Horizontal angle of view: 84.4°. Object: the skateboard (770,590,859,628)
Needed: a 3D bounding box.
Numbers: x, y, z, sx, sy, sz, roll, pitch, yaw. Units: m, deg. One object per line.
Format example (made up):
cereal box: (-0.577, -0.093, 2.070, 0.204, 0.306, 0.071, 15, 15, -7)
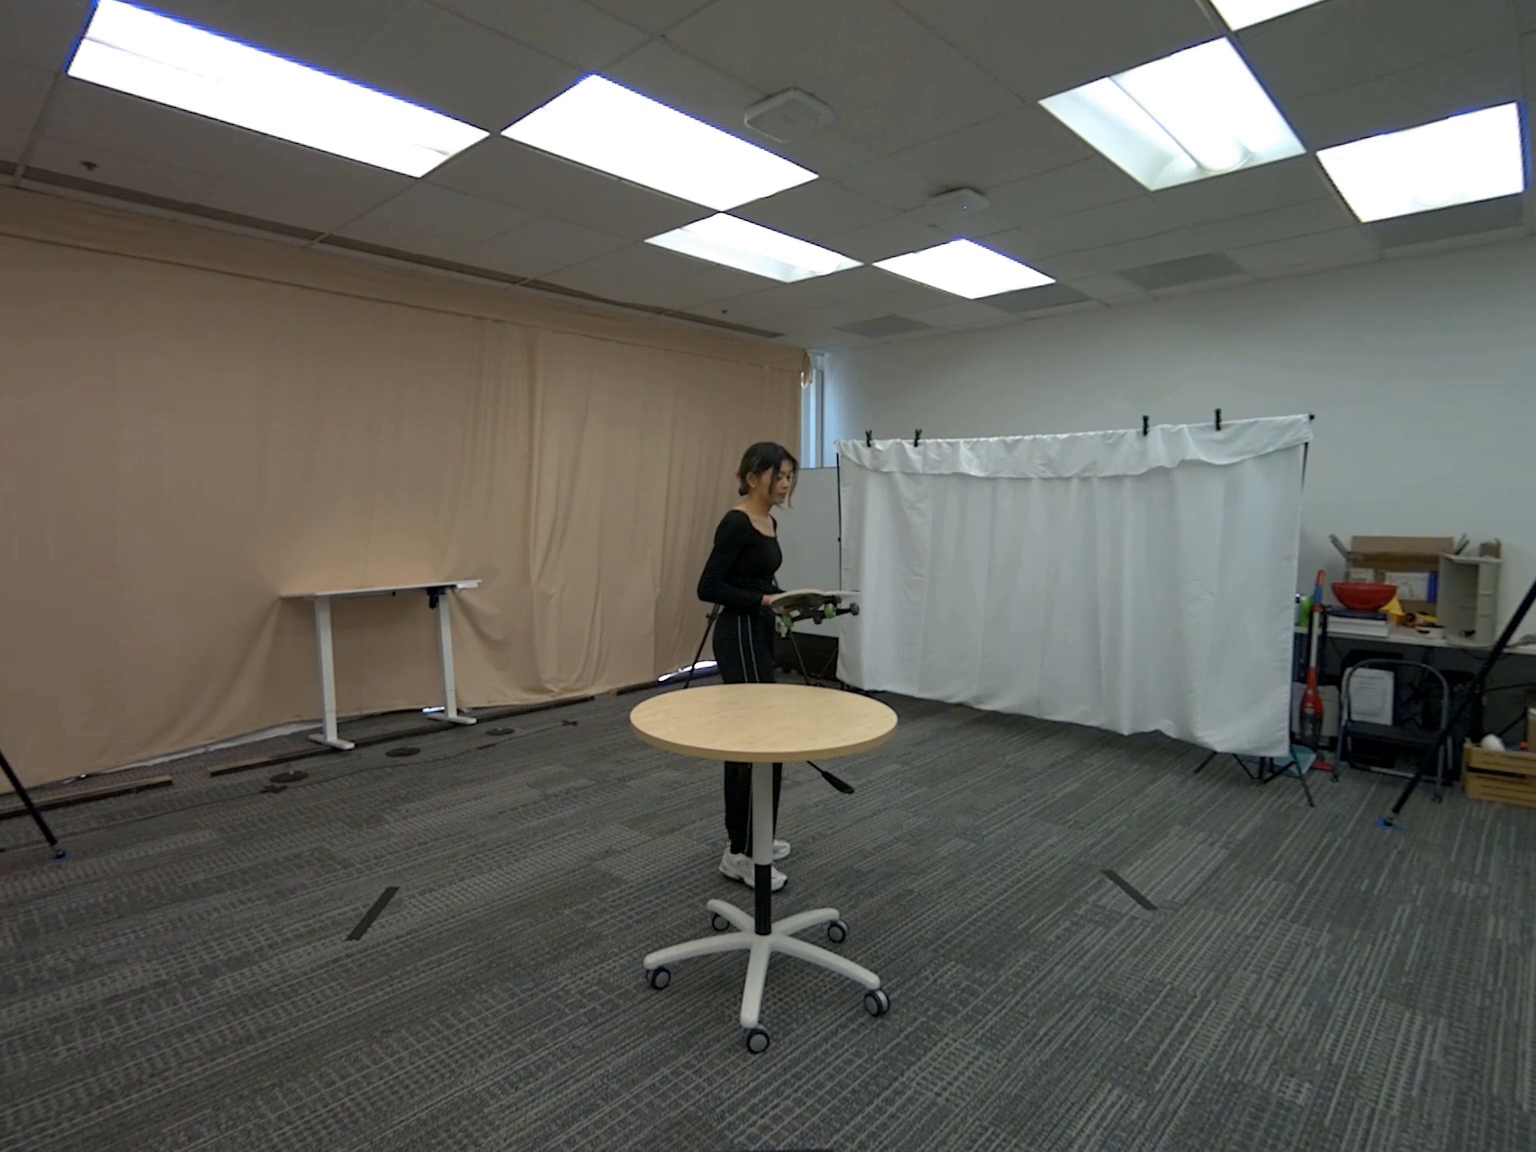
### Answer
skateboard: (0.193, 0.119, 3.149, 0.197, 0.111, 0.767, -15, -6, 20)
